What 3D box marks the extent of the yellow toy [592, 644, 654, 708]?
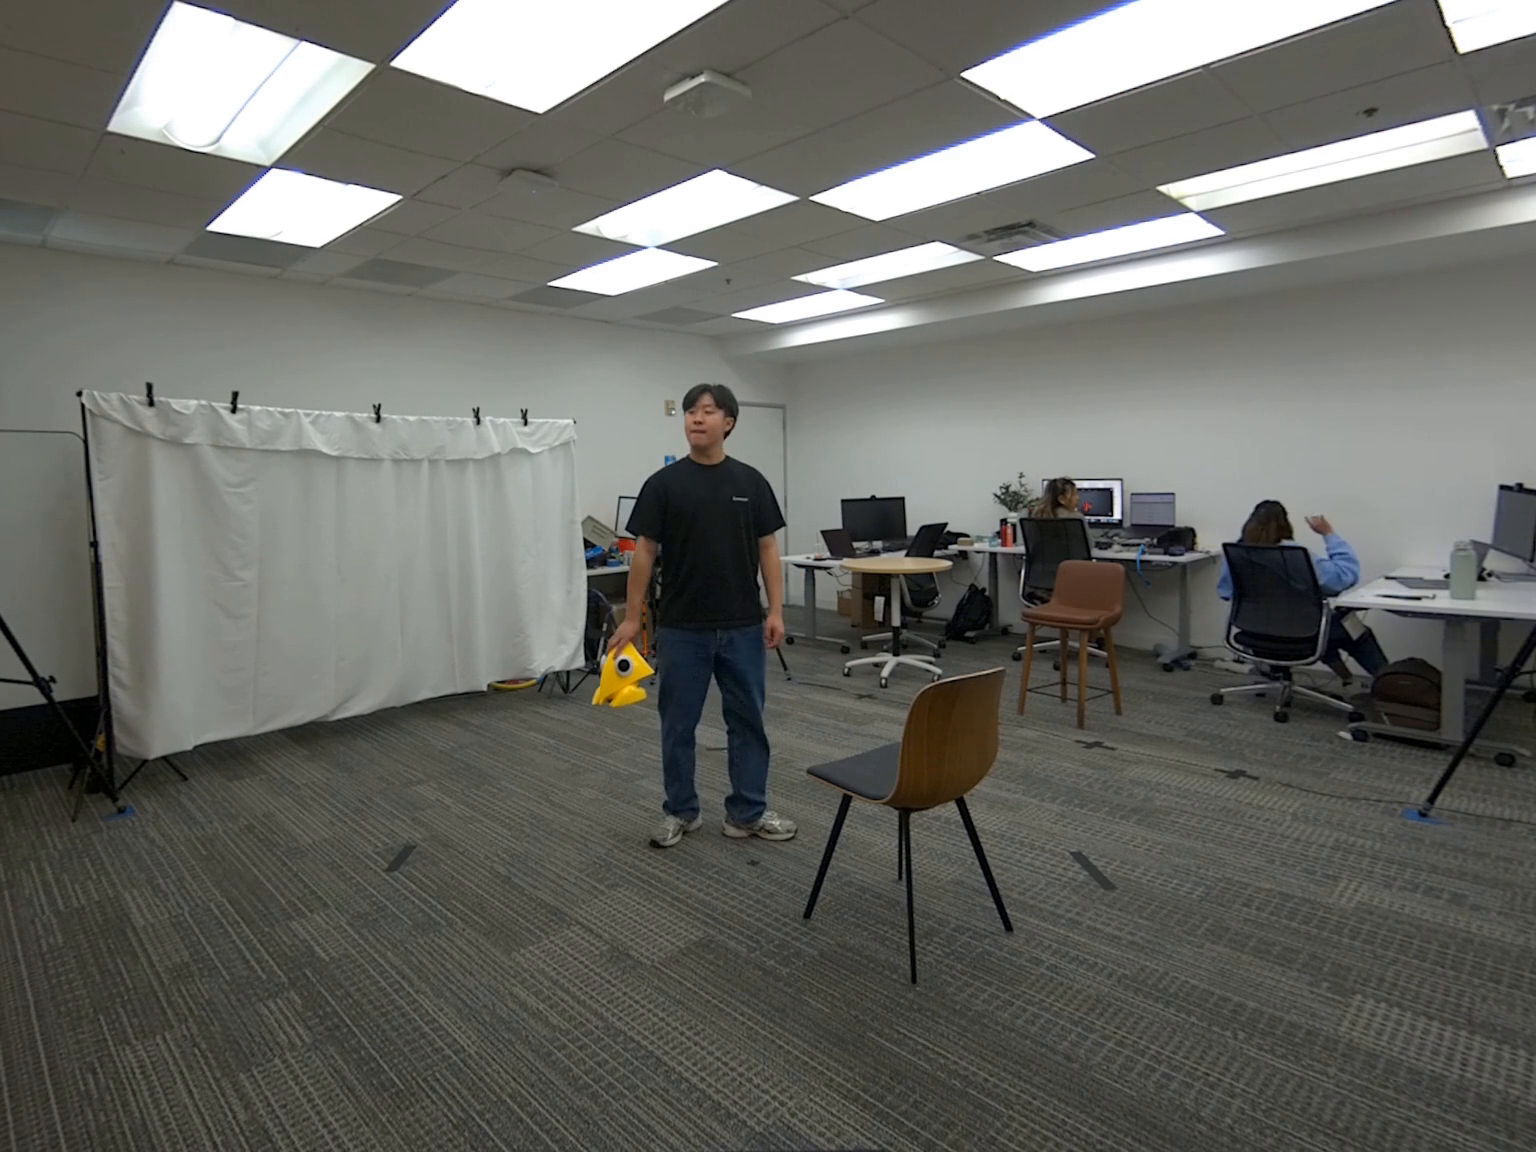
[{"bbox_3d":[-0.556,0.344,3.145,0.210,0.230,0.189,-6,4,44],"label":"yellow toy"}]
